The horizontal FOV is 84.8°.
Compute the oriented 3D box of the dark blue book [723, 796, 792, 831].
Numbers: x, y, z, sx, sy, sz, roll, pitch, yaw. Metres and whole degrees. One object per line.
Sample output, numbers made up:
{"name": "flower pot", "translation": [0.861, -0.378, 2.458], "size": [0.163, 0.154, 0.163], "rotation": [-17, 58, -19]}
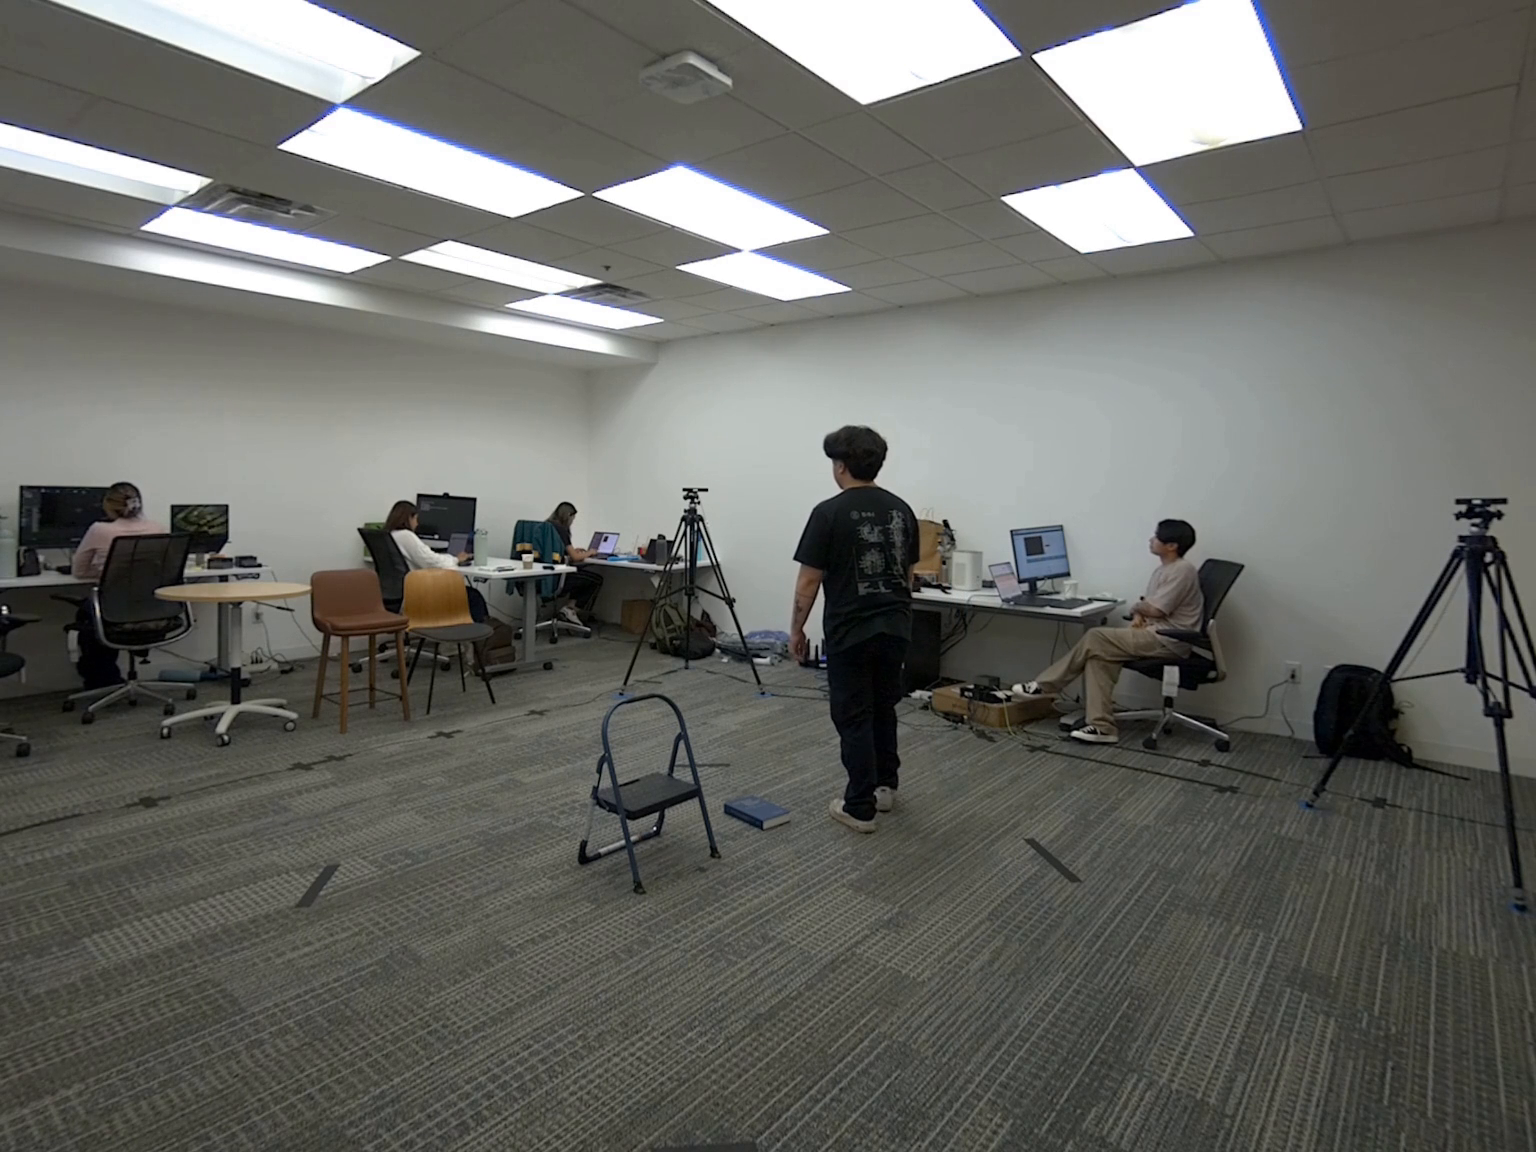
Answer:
{"name": "dark blue book", "translation": [-0.054, 1.004, 3.625], "size": [0.158, 0.045, 0.253], "rotation": [-4, 7, -43]}
